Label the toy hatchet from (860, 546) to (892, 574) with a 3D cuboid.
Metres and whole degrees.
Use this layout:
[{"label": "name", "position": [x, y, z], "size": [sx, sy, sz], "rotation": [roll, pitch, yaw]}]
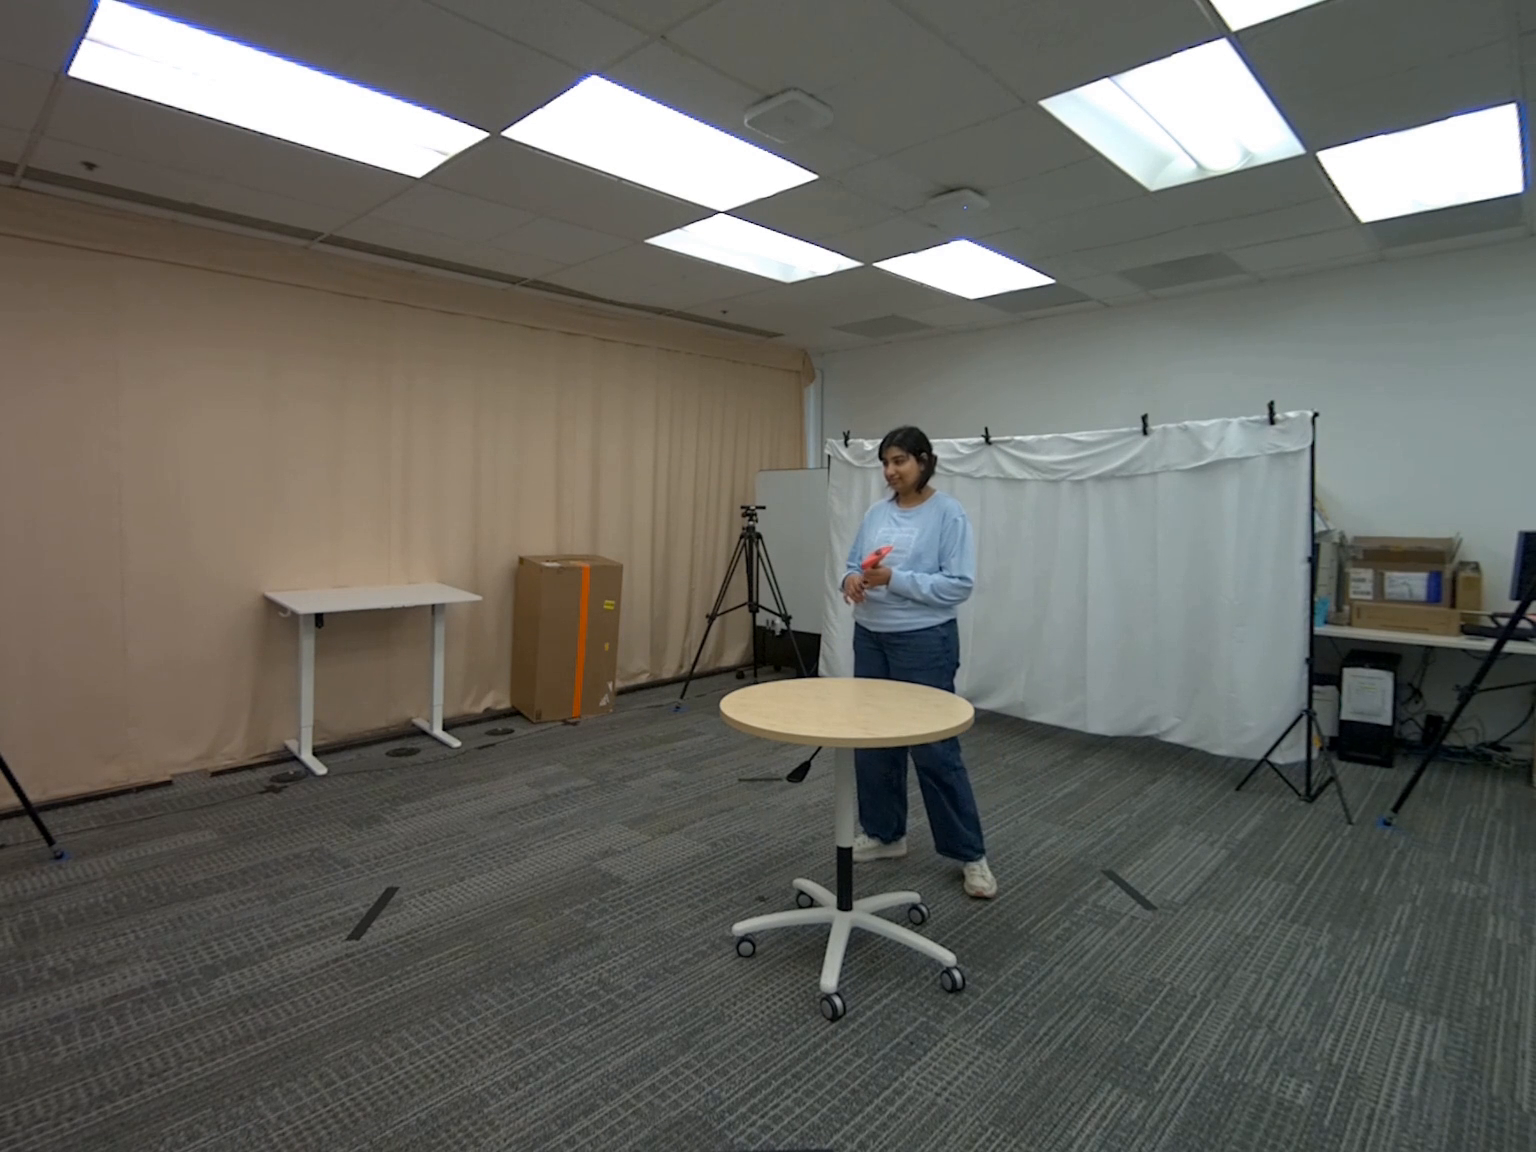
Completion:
[{"label": "toy hatchet", "position": [0.359, -0.015, 3.016], "size": [0.129, 0.030, 0.268], "rotation": [-25, -24, -27]}]
